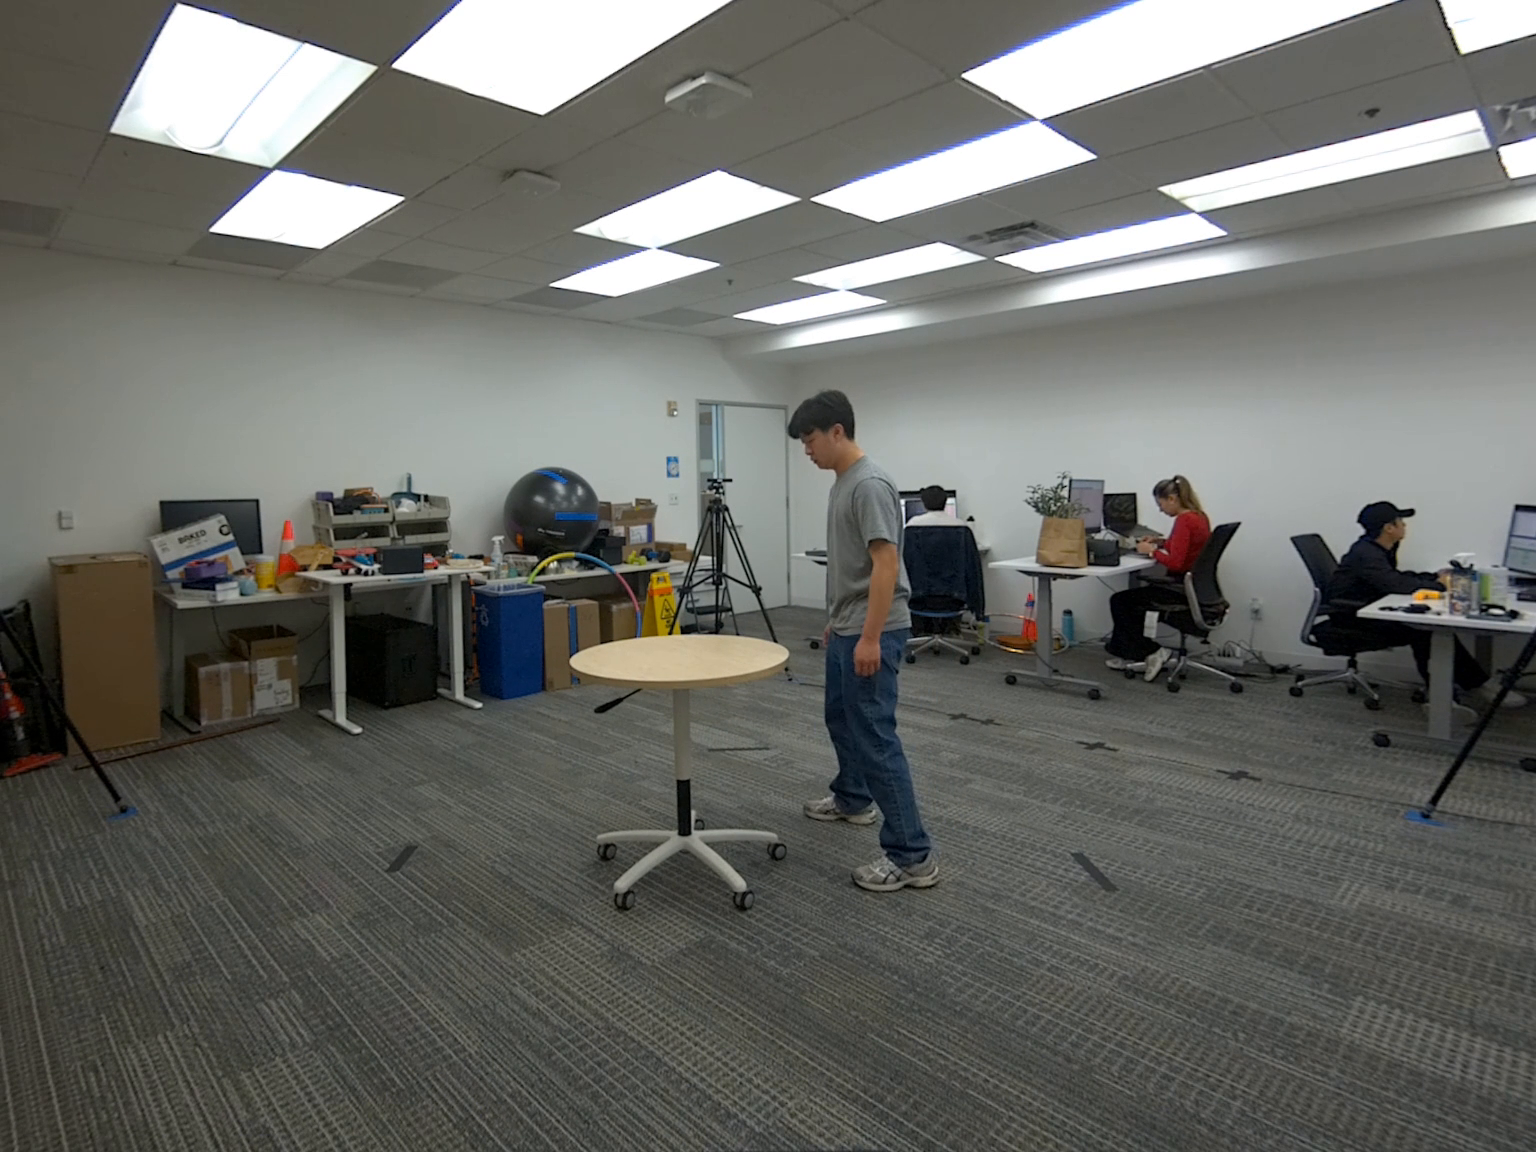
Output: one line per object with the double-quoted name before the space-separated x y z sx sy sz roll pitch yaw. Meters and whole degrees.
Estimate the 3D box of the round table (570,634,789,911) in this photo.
"round table" -0.296 0.669 3.032 0.763 0.791 0.768 -2 5 -2
